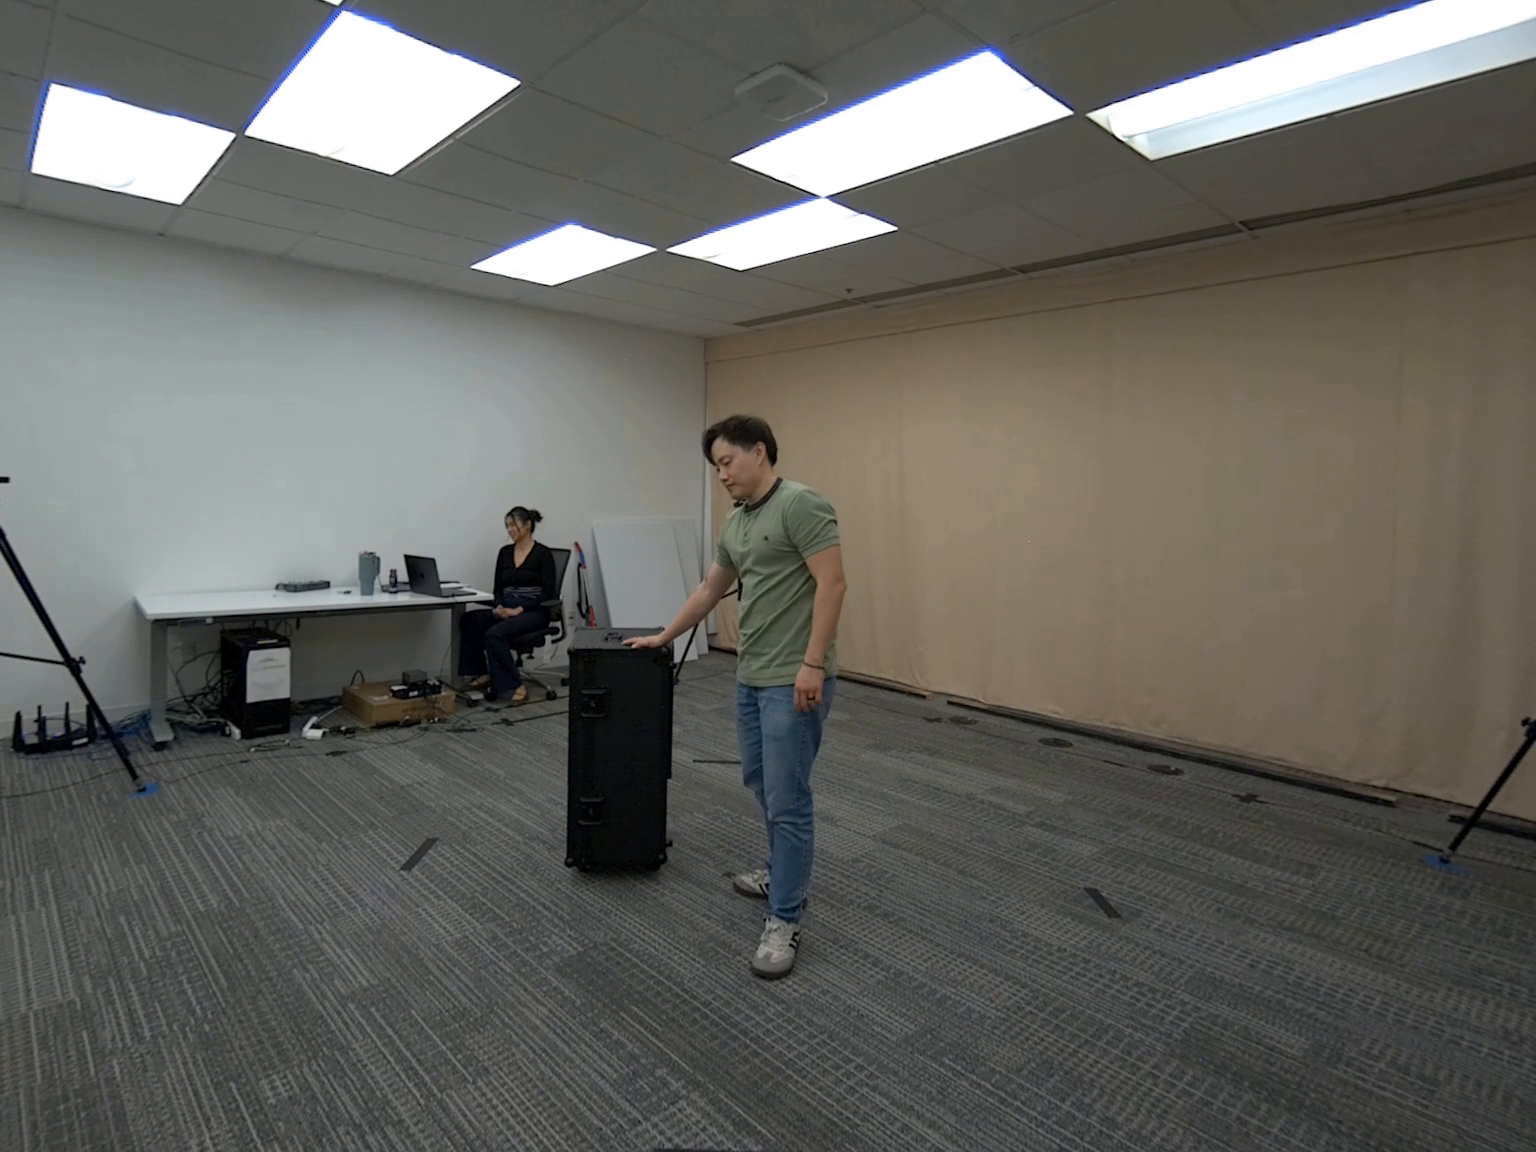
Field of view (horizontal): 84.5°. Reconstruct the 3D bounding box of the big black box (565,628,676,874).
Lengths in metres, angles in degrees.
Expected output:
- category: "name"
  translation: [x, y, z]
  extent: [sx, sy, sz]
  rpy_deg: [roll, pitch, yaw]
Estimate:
- category: "big black box"
  translation: [-0.565, 0.603, 3.214]
  extent: [0.394, 0.859, 0.526]
  rpy_deg: [1, 4, -8]
